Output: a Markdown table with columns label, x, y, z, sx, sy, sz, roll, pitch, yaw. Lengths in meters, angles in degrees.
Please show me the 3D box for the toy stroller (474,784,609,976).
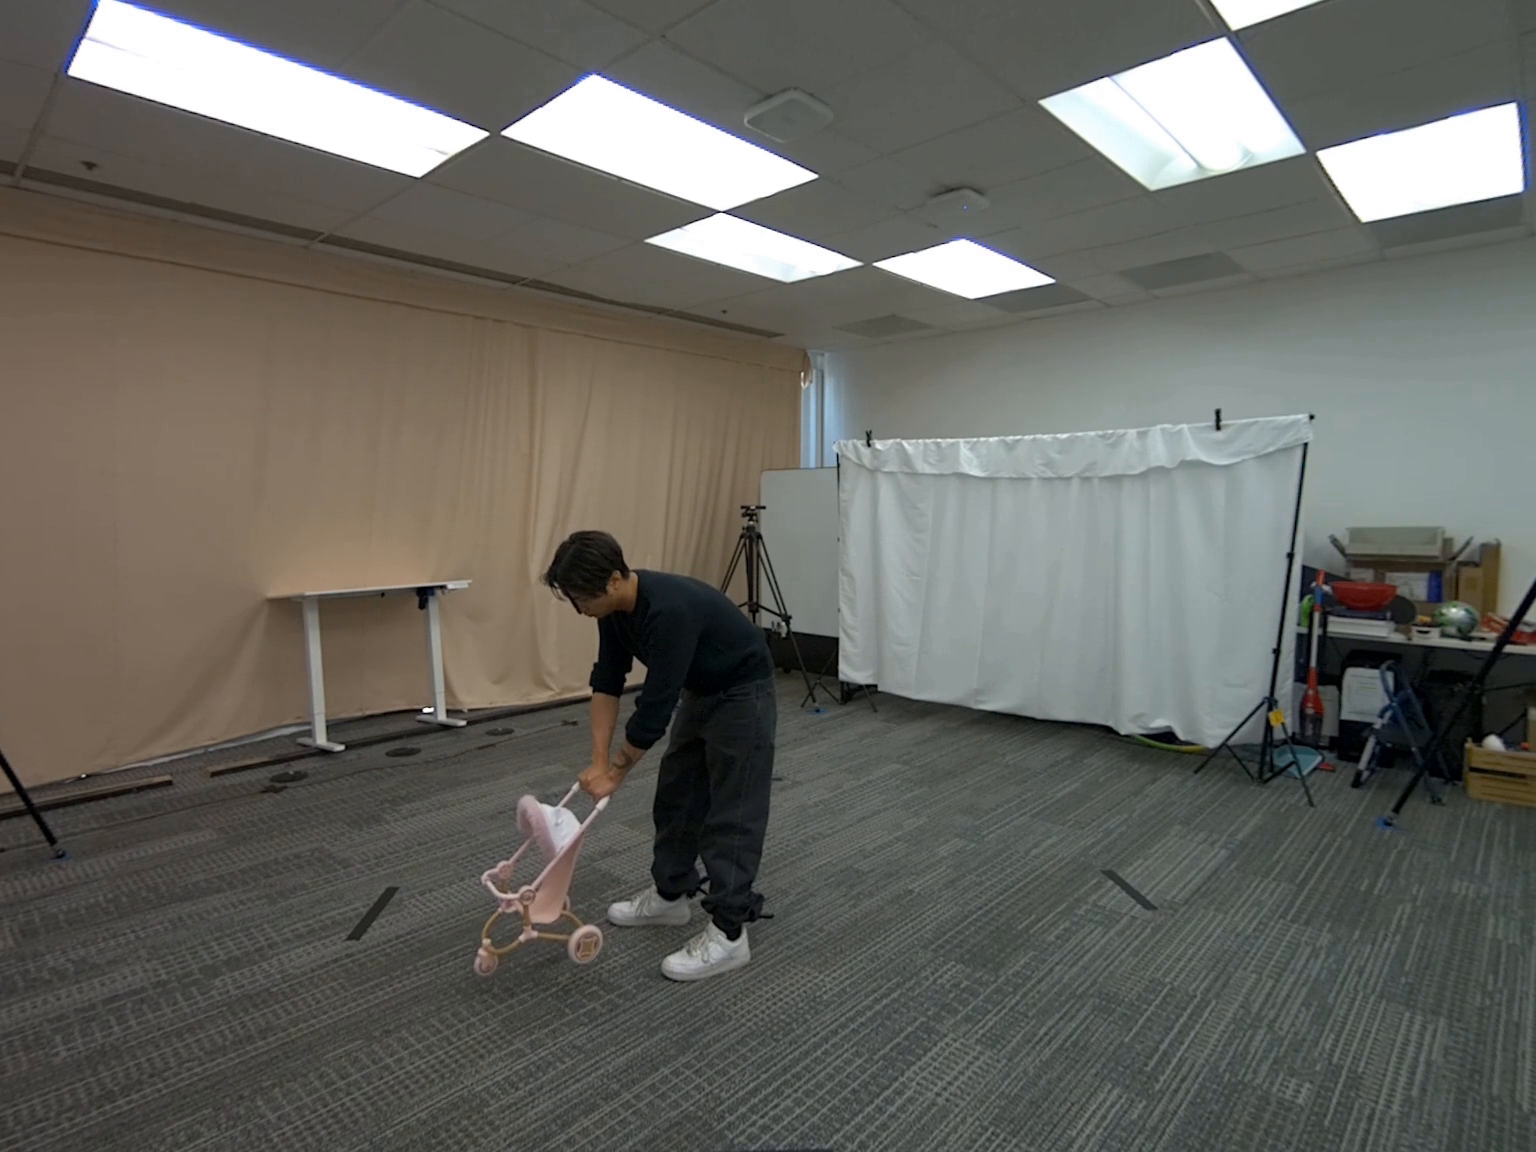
| label | x | y | z | sx | sy | sz | roll | pitch | yaw |
| --- | --- | --- | --- | --- | --- | --- | --- | --- | --- |
| toy stroller | -0.666 | 0.883 | 2.450 | 0.331 | 0.534 | 0.290 | 6 | 2 | -31 |
